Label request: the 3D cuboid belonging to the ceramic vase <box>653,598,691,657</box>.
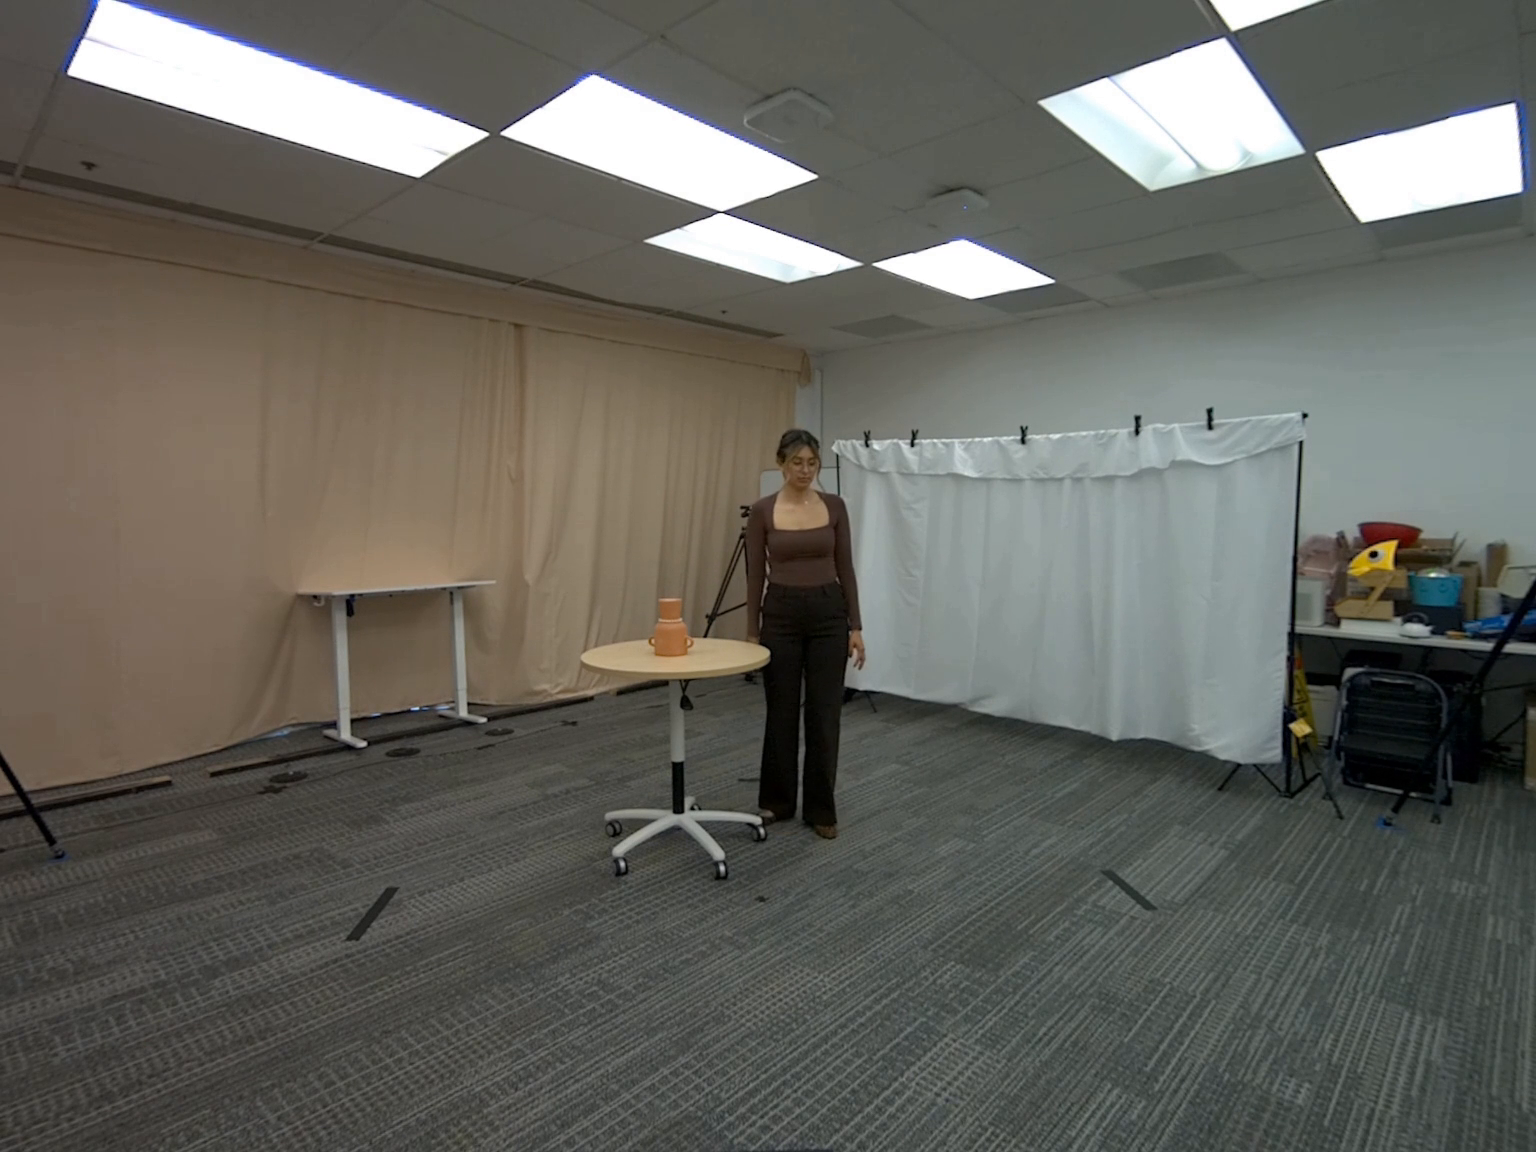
[{"bbox_3d":[-0.395,0.205,3.403,0.155,0.219,0.137,-2,2,-21],"label":"ceramic vase"}]
